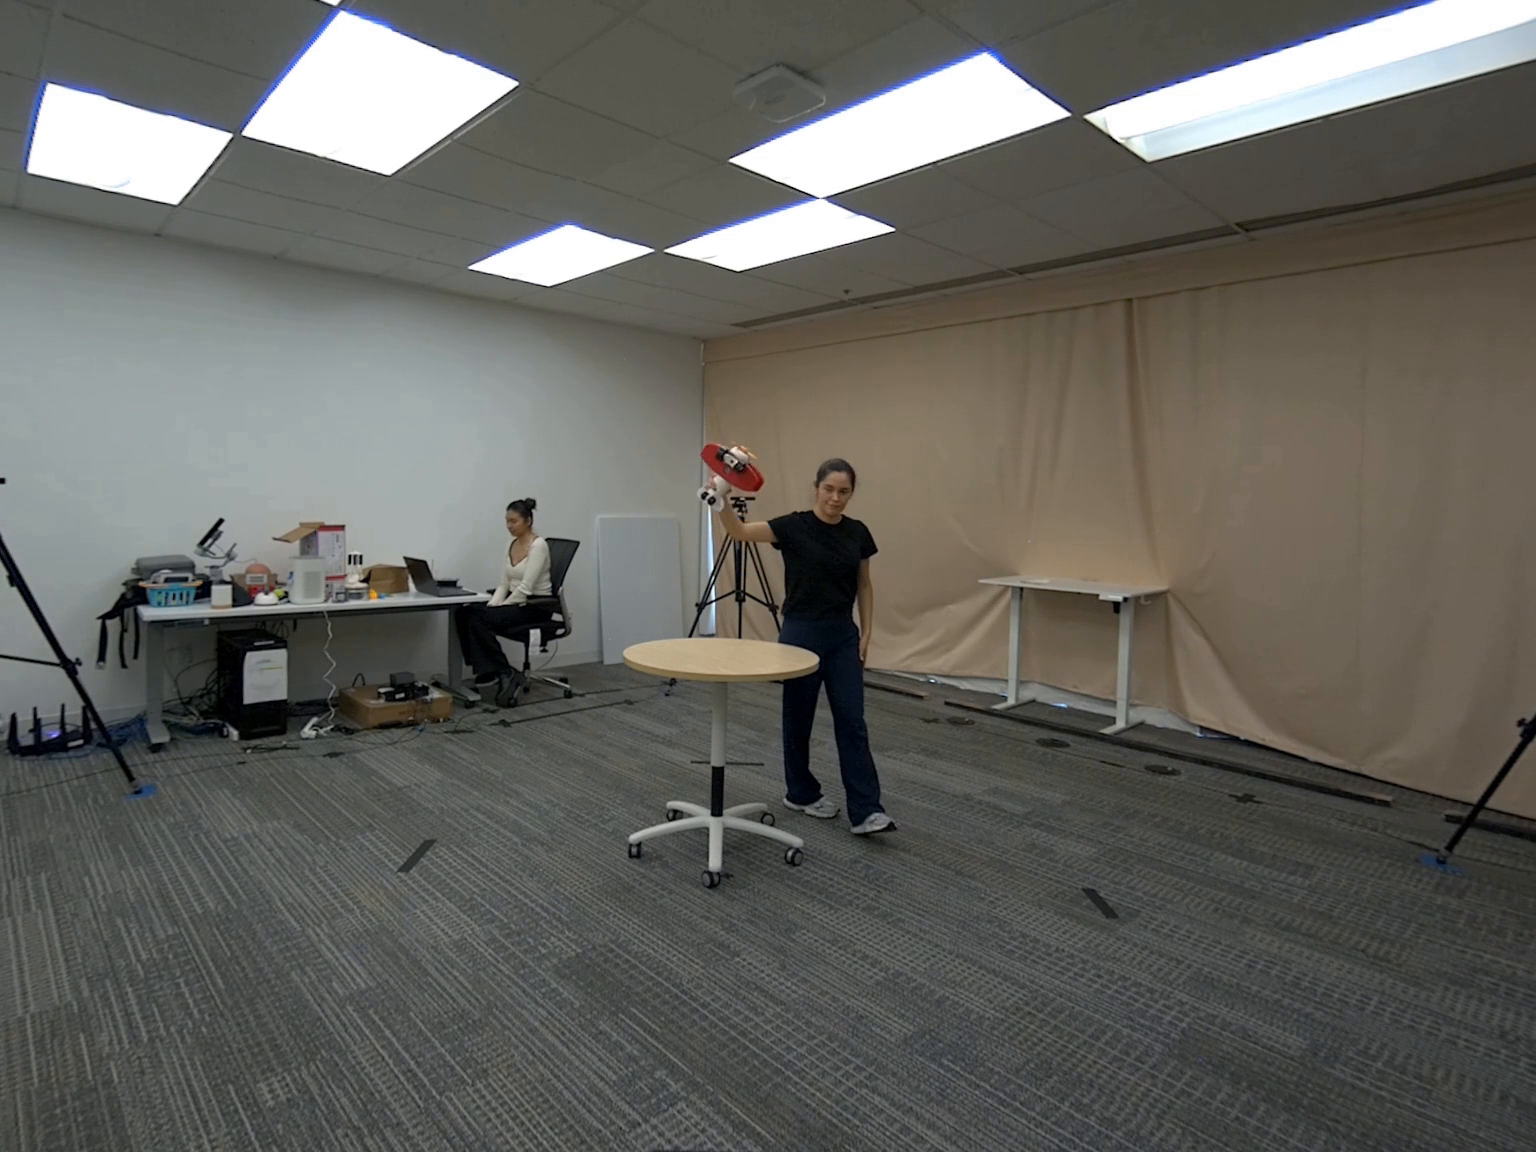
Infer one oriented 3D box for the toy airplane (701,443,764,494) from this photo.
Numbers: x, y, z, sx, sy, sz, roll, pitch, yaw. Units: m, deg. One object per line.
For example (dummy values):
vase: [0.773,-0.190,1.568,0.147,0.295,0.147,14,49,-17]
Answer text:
toy airplane: [-0.175,-0.385,3.212,0.261,0.251,0.155,-27,2,28]
